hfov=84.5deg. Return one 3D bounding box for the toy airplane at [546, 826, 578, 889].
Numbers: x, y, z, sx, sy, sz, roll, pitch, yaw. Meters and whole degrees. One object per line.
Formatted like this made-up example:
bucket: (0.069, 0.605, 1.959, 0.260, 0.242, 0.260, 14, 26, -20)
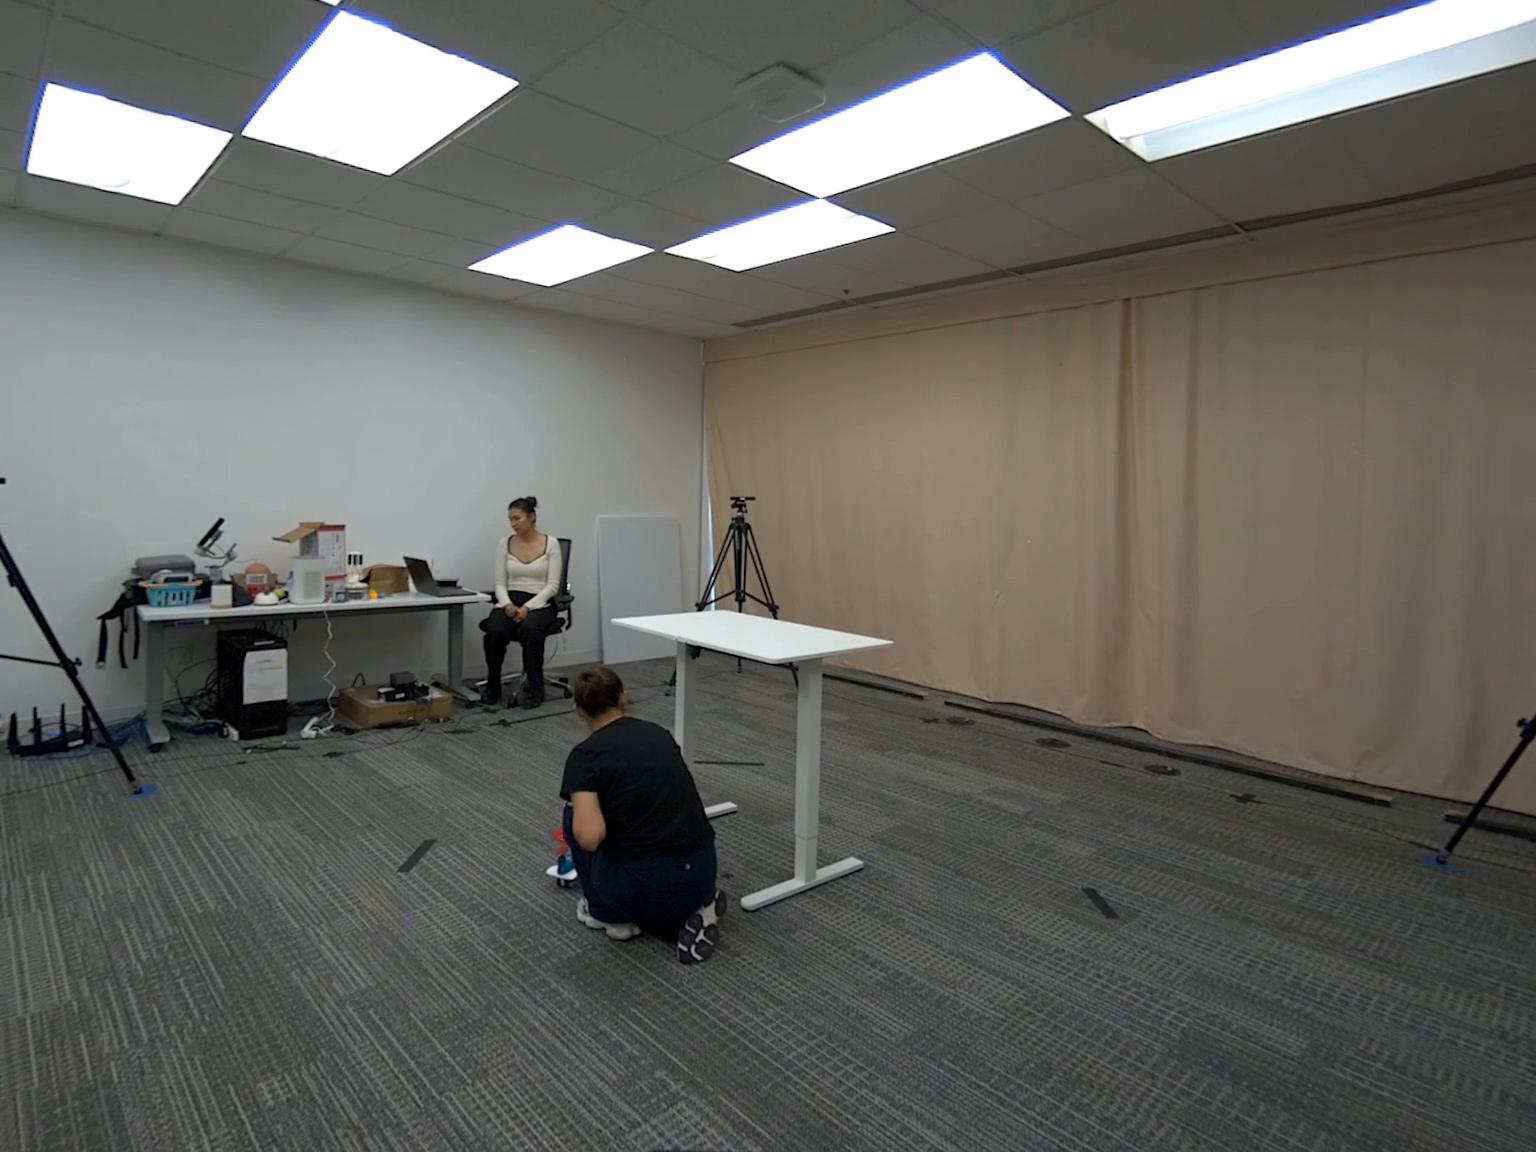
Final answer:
toy airplane: (-0.669, 1.027, 3.045, 0.250, 0.156, 0.261, 0, 6, -6)
